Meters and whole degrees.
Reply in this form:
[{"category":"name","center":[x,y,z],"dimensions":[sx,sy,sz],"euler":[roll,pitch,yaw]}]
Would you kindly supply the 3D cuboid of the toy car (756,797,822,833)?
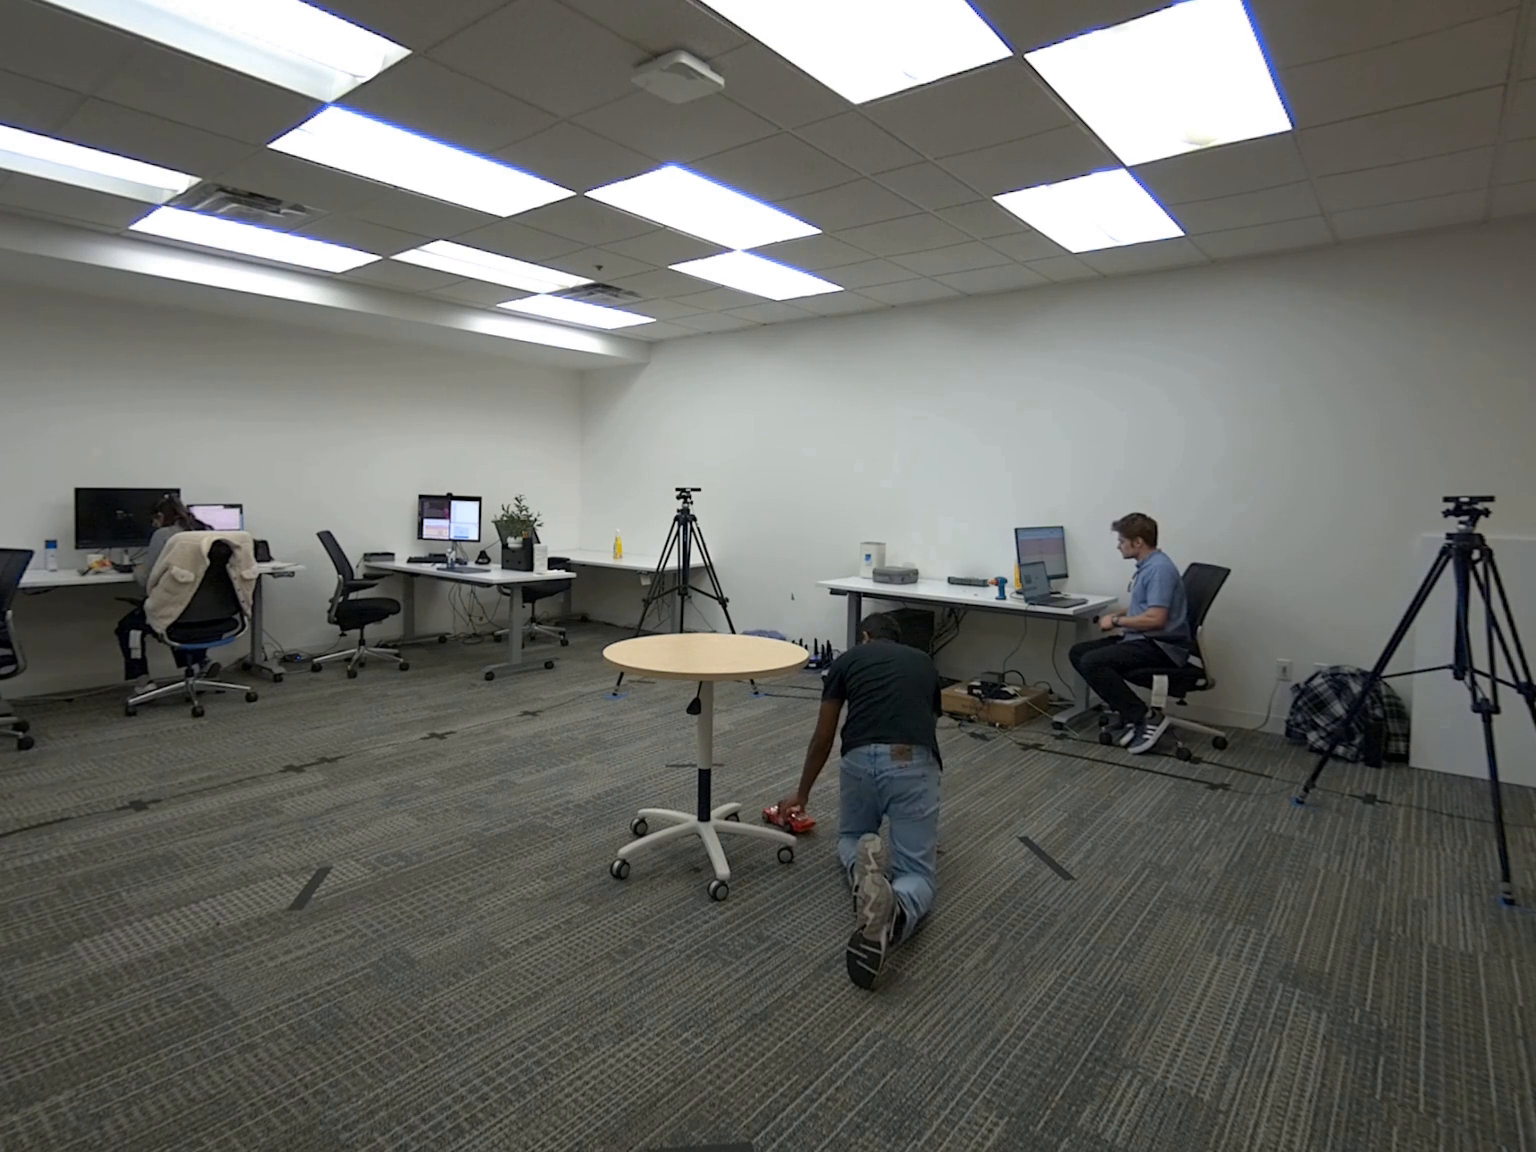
[{"category":"toy car","center":[0.083,0.995,3.519],"dimensions":[0.126,0.083,0.261],"euler":[-1,-4,-39]}]
